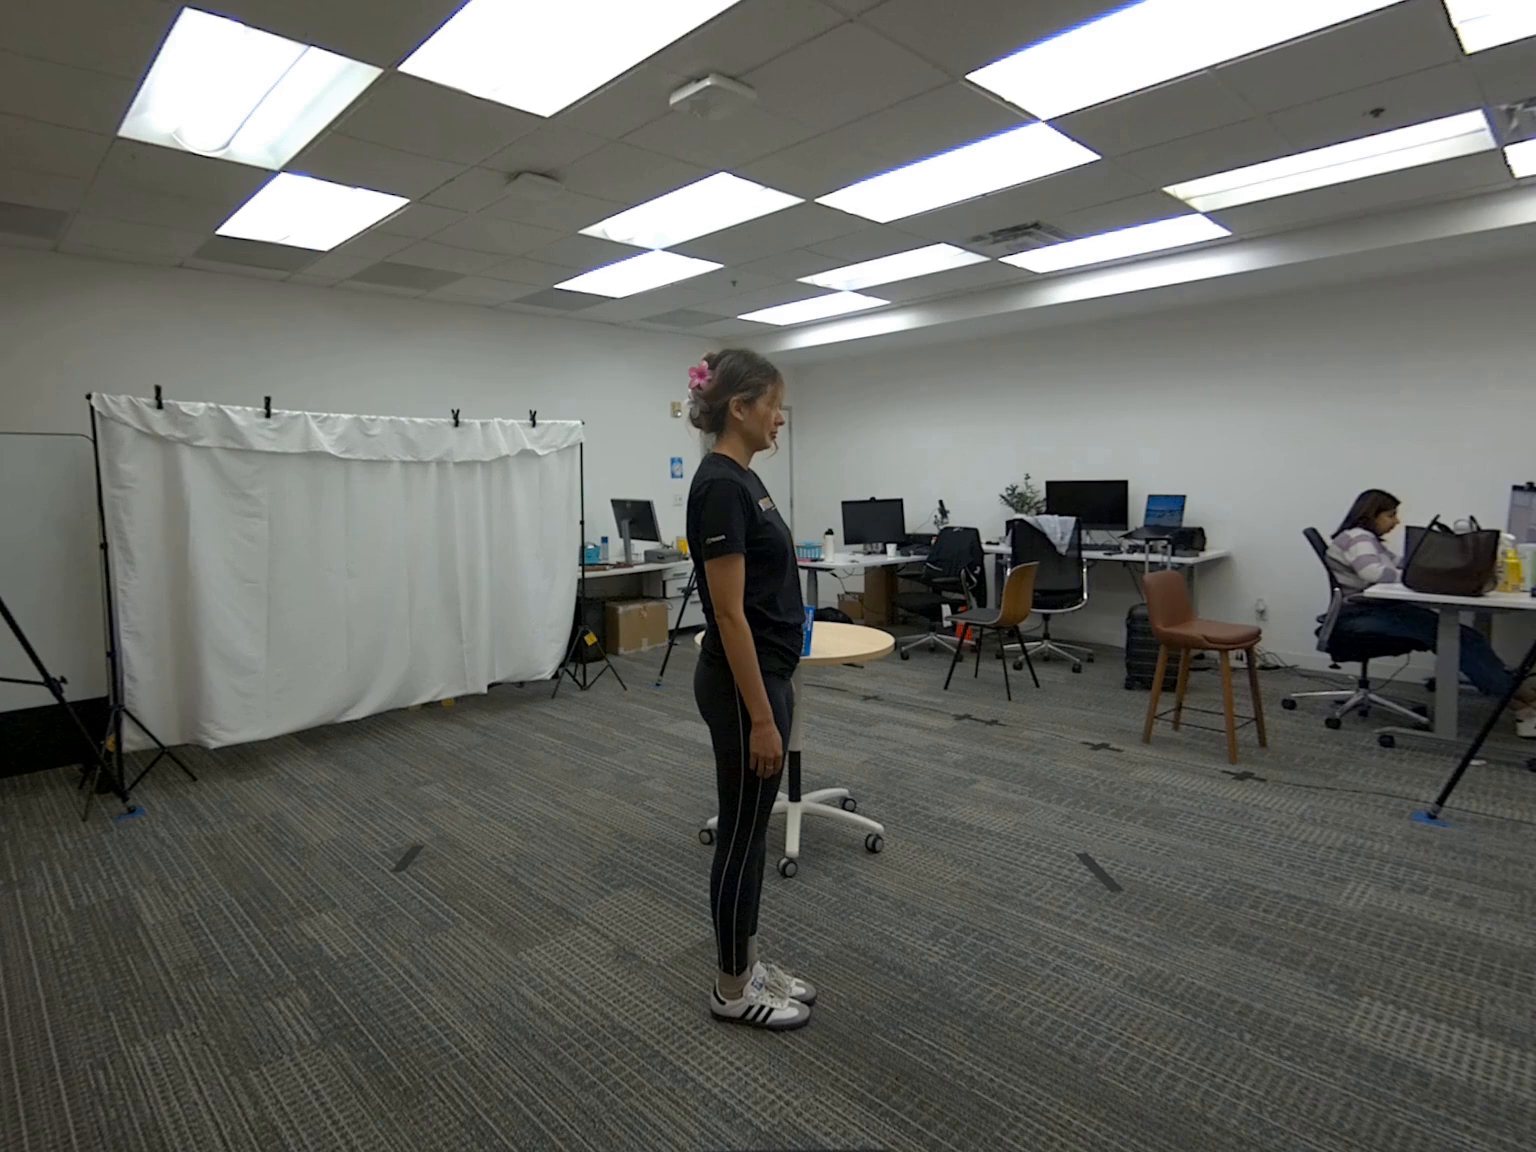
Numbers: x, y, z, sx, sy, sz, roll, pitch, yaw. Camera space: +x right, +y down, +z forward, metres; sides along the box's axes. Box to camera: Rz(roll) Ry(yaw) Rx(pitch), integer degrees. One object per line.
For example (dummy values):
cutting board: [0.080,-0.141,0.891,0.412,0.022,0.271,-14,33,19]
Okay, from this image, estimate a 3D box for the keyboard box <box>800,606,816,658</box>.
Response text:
keyboard box: [0.003,0.173,3.127,0.057,0.176,0.450,6,1,-38]
